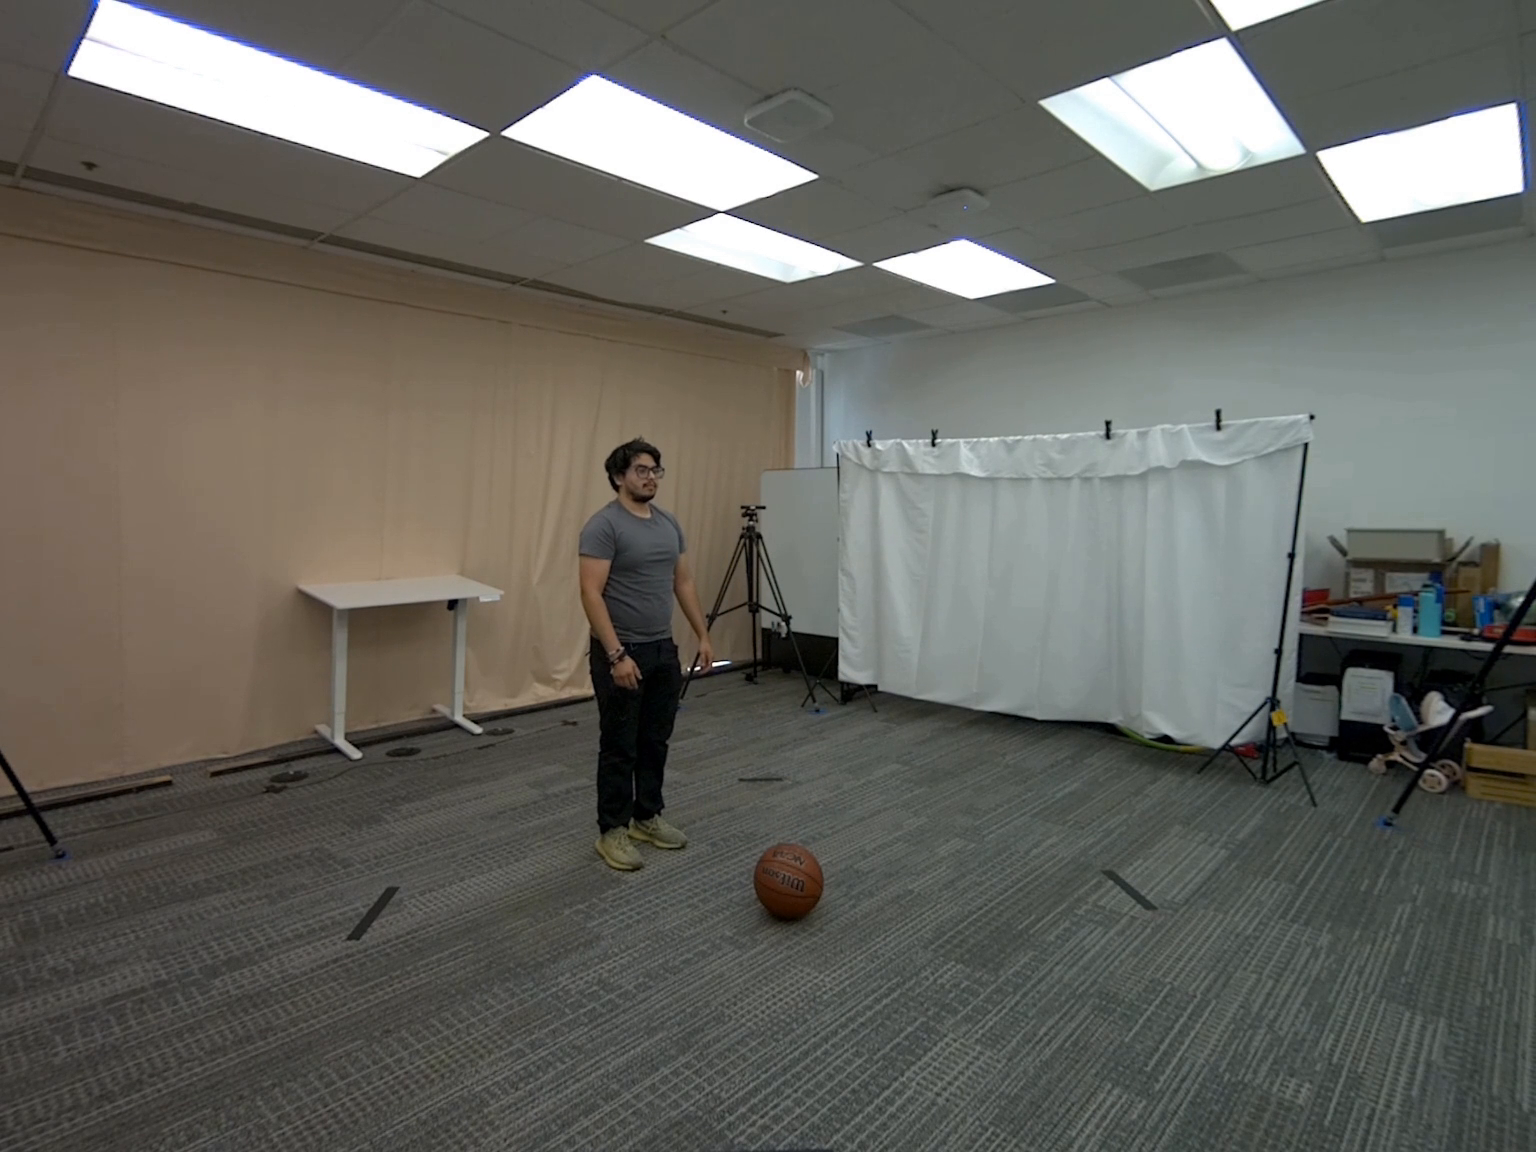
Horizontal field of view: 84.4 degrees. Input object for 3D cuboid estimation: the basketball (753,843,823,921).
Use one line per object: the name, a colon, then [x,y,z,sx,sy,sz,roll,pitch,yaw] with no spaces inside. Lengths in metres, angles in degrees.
basketball: [0.078,1.032,2.863,0.236,0.235,0.237,0,4,-2]
